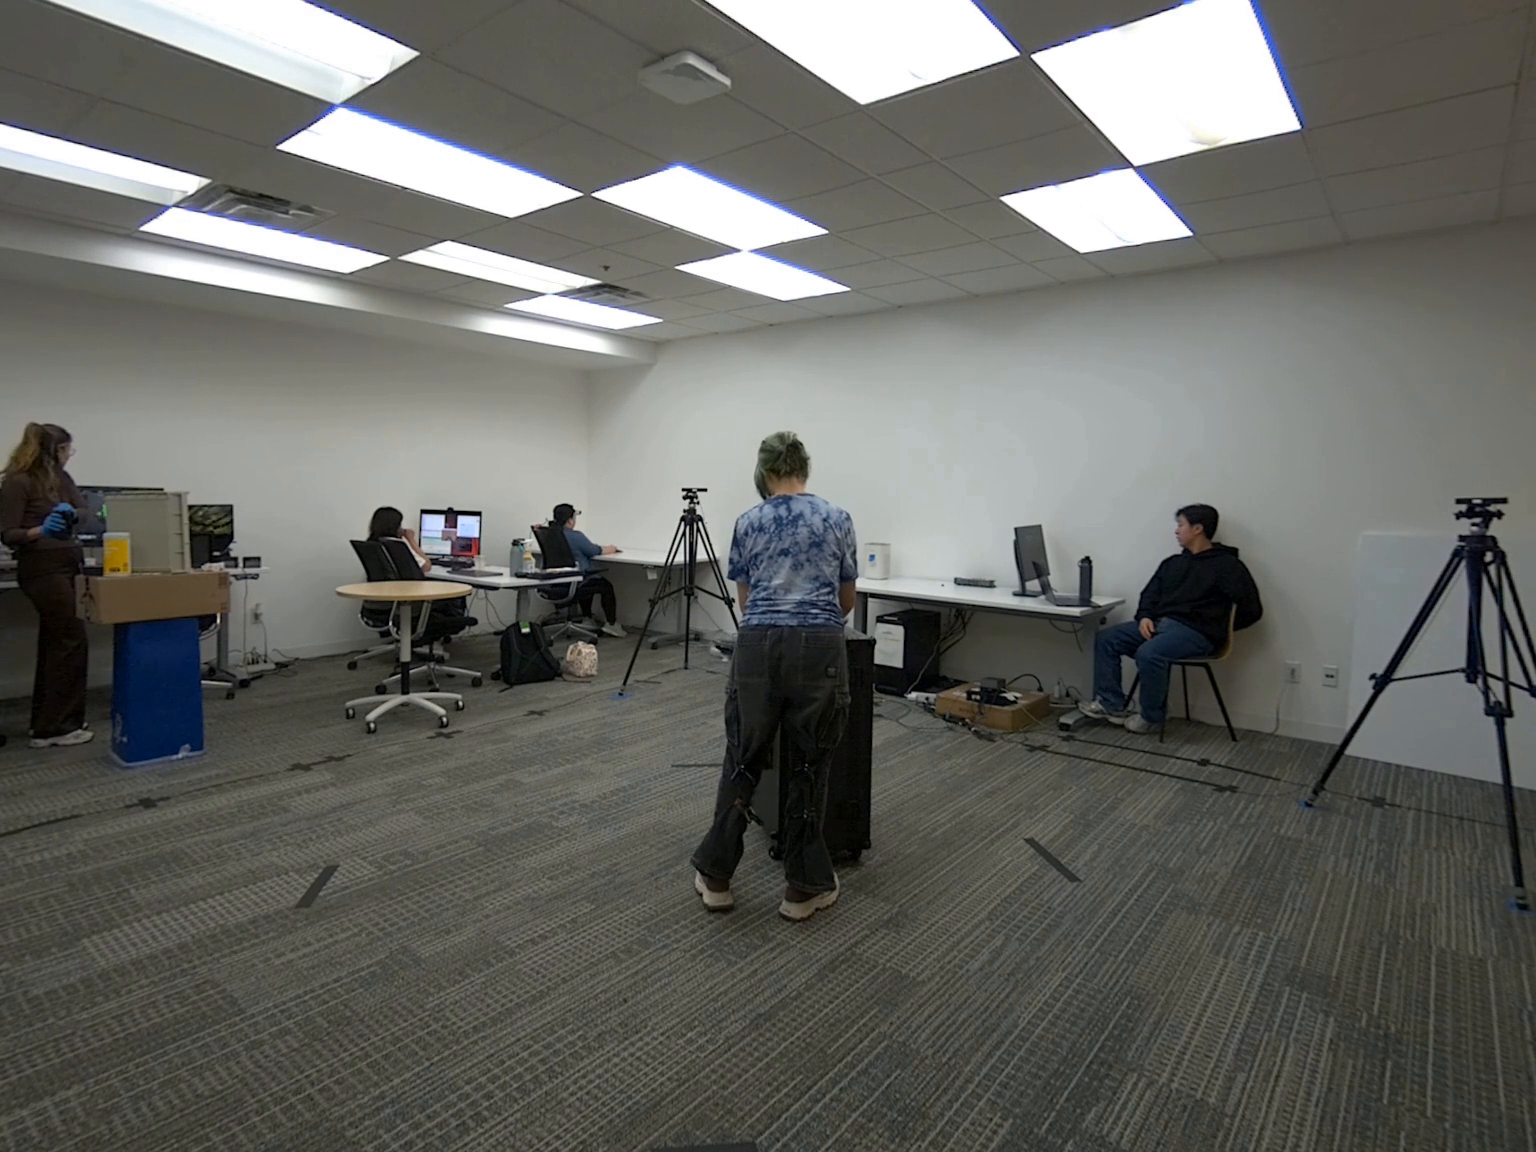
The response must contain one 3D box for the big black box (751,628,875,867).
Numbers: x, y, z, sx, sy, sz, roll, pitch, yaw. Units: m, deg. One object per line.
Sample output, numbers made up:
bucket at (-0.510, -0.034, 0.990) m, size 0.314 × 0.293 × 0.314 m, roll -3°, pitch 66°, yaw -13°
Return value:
big black box at (0.162, 0.636, 3.335) m, size 0.393 × 0.859 × 0.527 m, roll 0°, pitch 3°, yaw -9°
